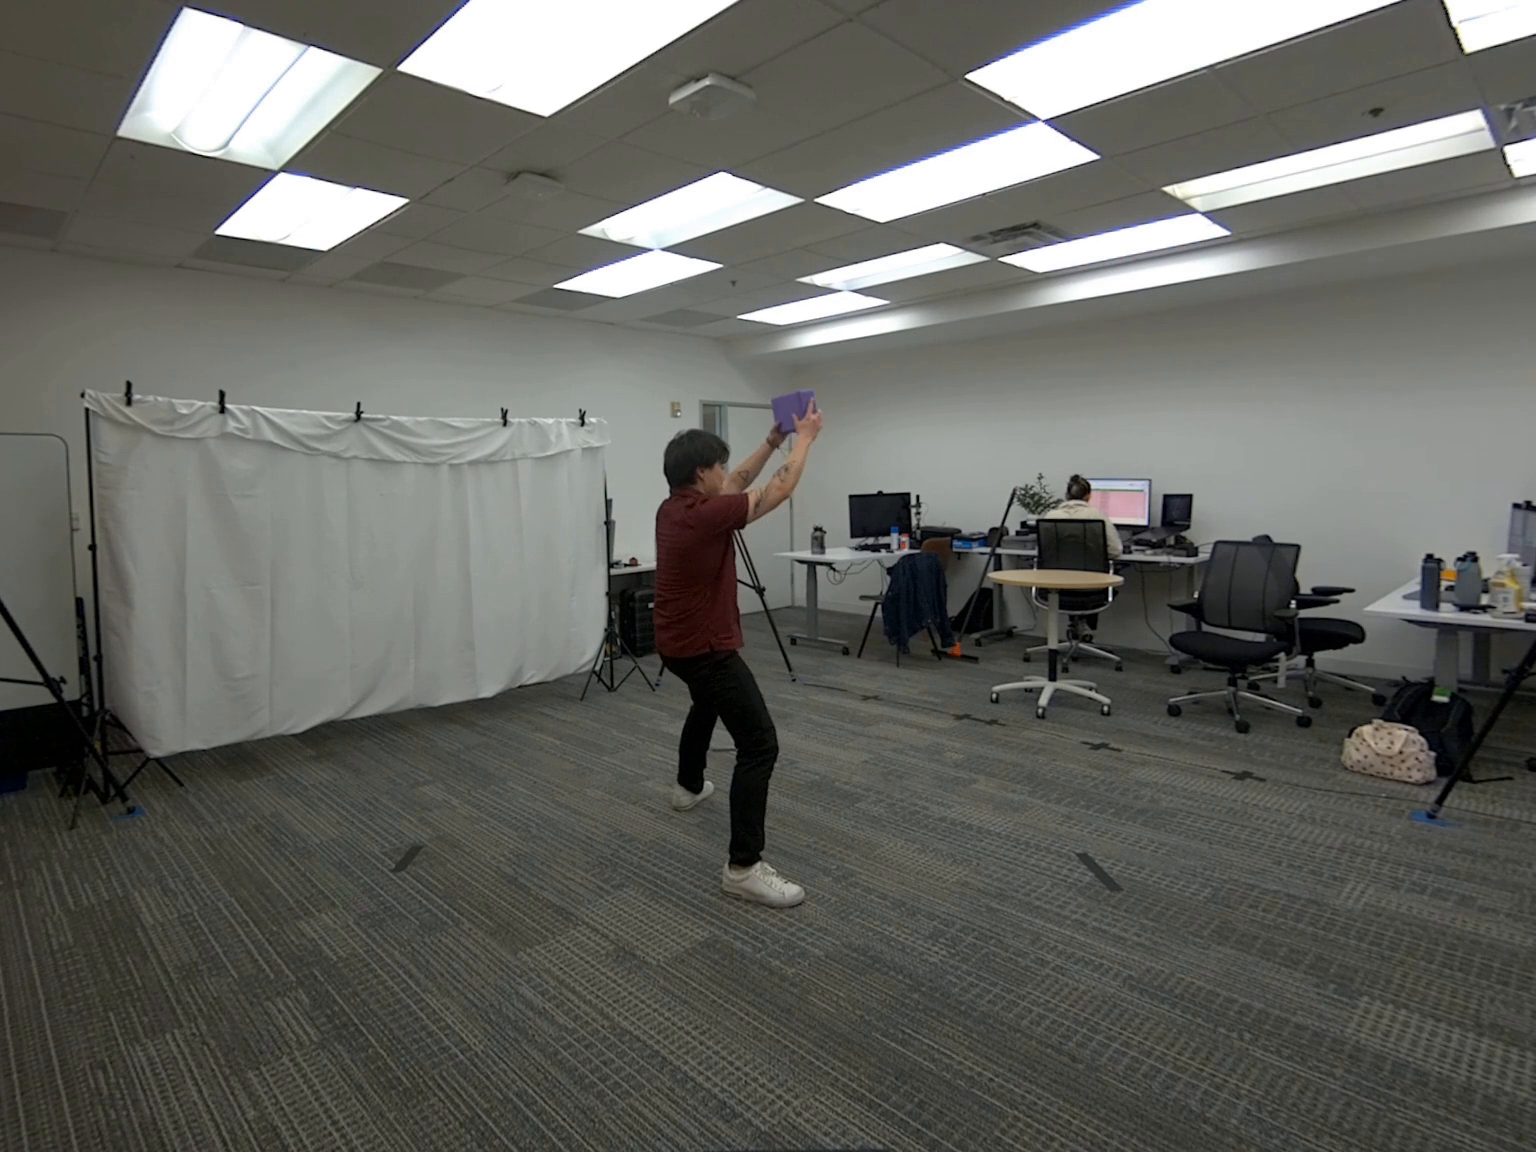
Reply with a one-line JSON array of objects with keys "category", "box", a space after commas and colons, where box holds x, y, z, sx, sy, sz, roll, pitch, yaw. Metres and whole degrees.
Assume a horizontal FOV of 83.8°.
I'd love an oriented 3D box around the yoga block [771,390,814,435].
[{"category": "yoga block", "box": [0.110, -0.630, 3.317, 0.075, 0.148, 0.234, -12, 7, -24]}]
